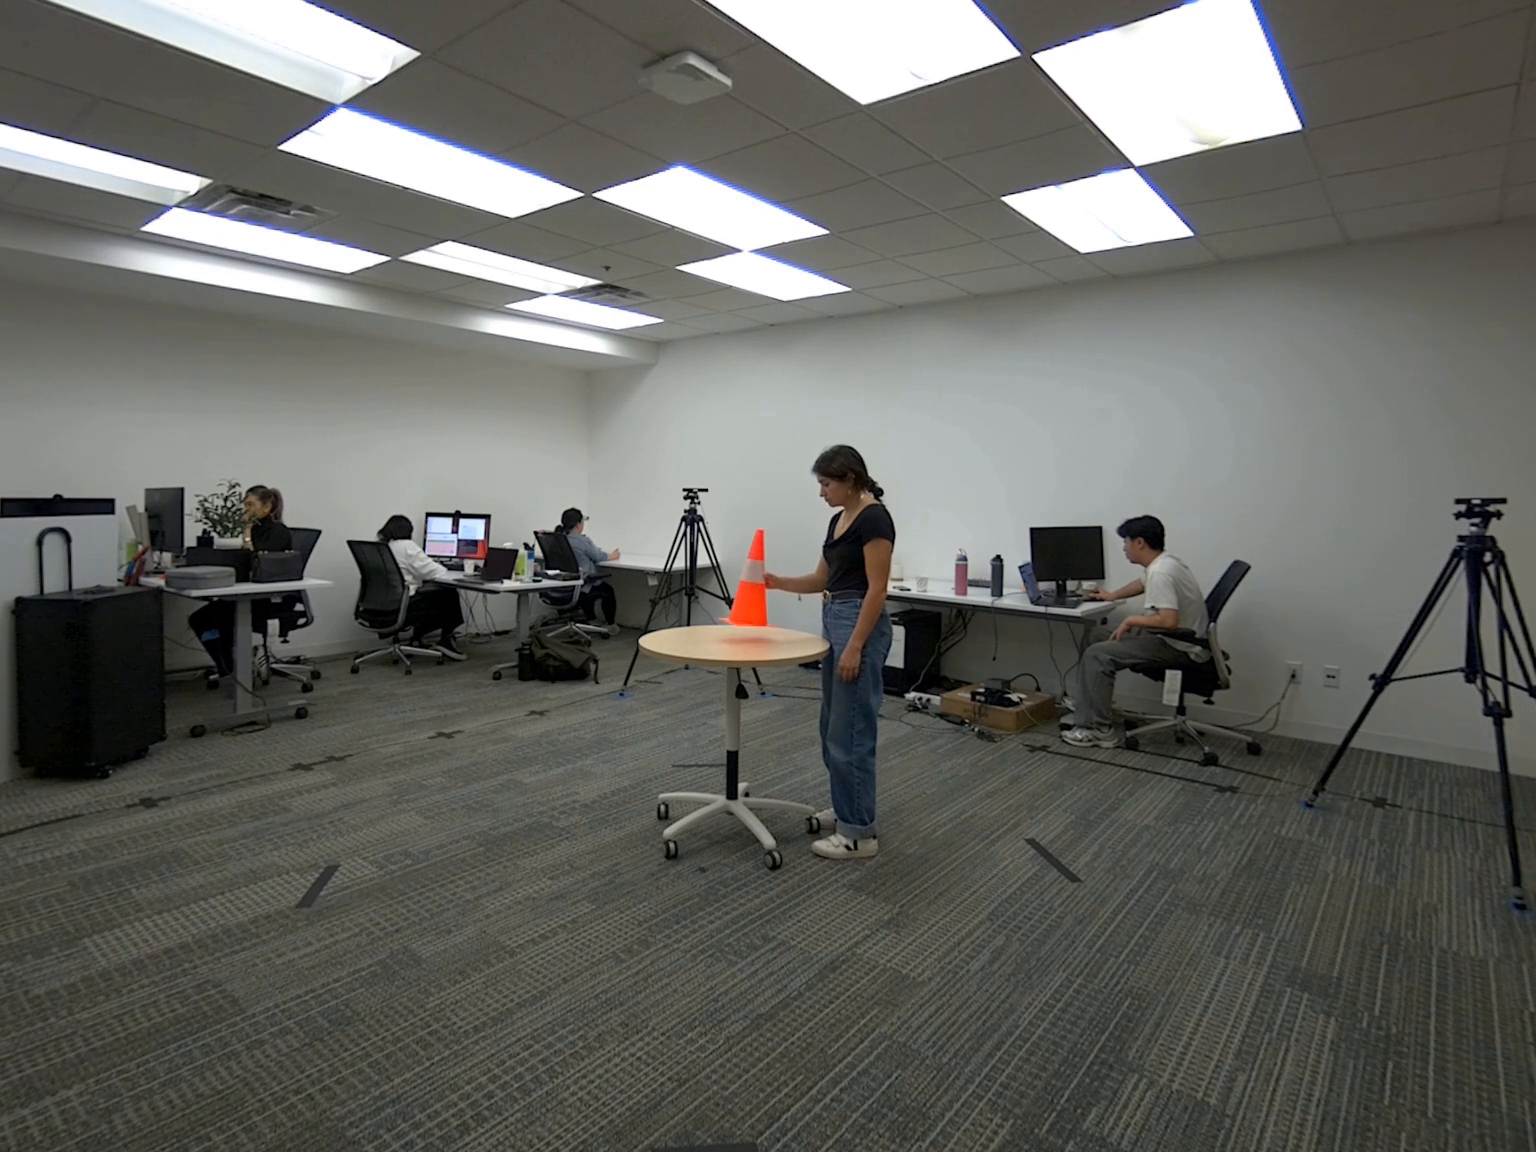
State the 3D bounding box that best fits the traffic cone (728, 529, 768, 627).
[{"bbox_3d":[-0.052,-0.003,3.441,0.200,0.383,0.209,5,2,-25],"label":"traffic cone"}]
